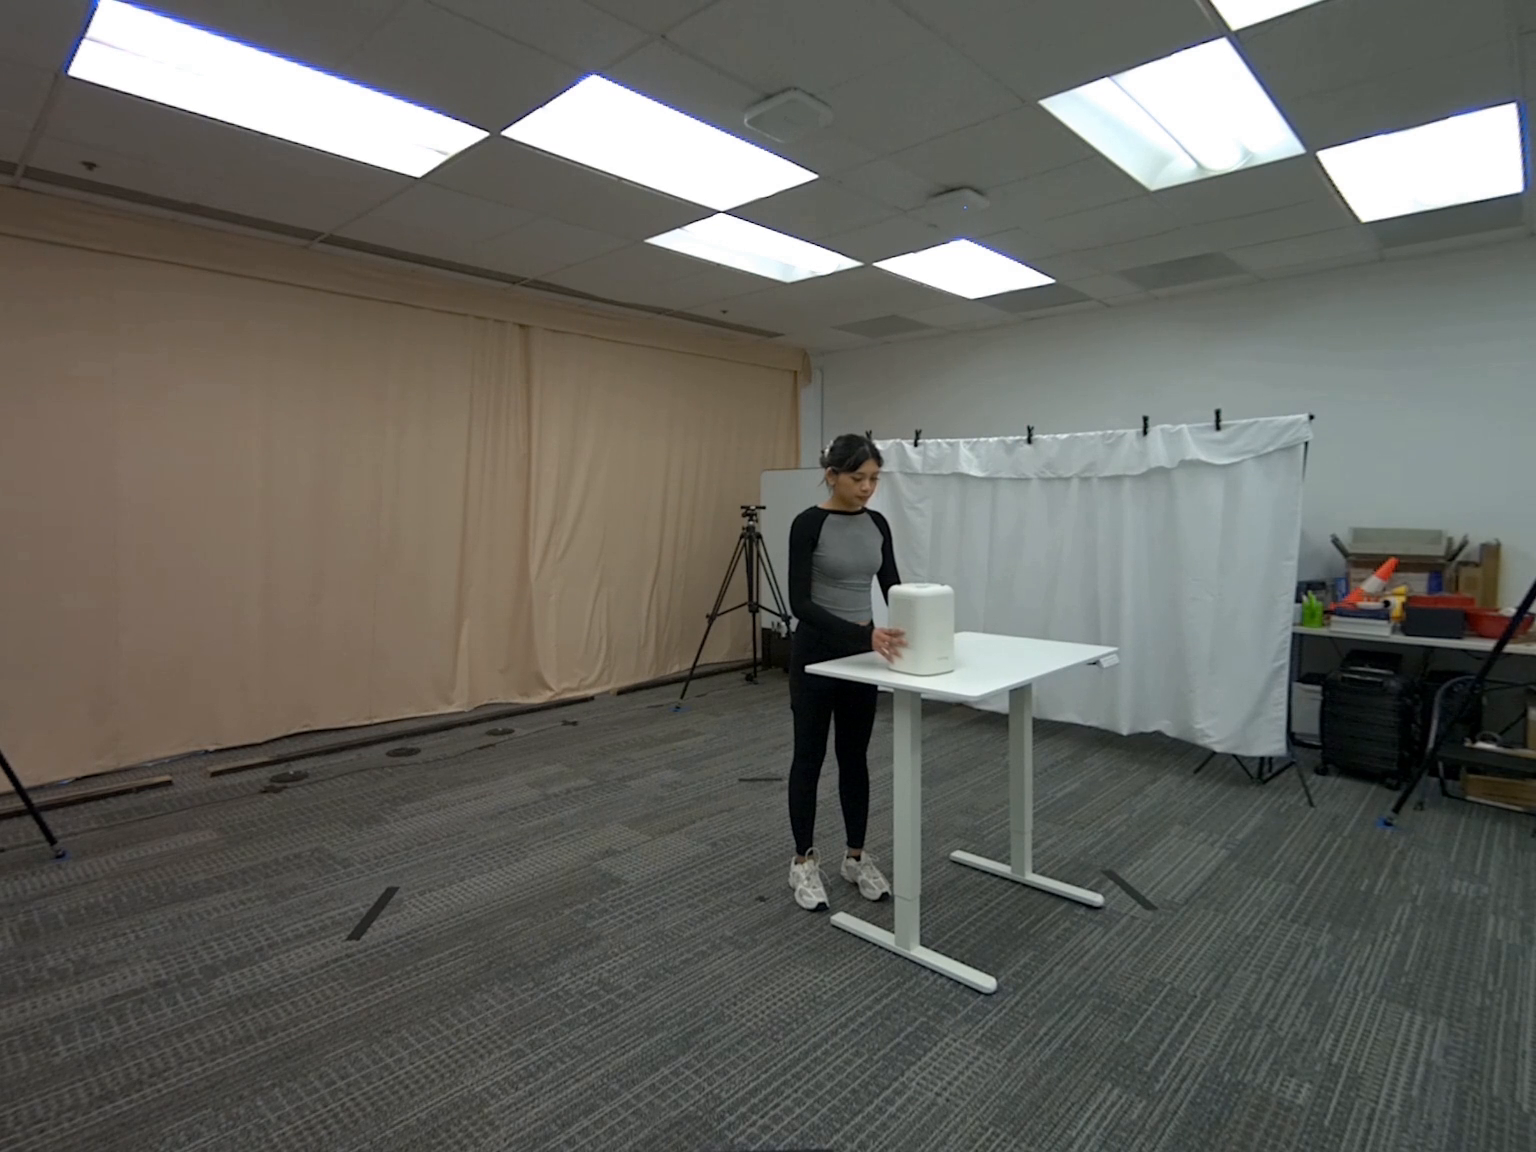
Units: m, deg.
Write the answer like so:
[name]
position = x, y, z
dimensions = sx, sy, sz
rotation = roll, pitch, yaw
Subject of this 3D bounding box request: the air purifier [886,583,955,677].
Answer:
[air purifier]
position = 0.478, 0.160, 2.612
dimensions = 0.166, 0.264, 0.177
rotation = -5, 6, -36
